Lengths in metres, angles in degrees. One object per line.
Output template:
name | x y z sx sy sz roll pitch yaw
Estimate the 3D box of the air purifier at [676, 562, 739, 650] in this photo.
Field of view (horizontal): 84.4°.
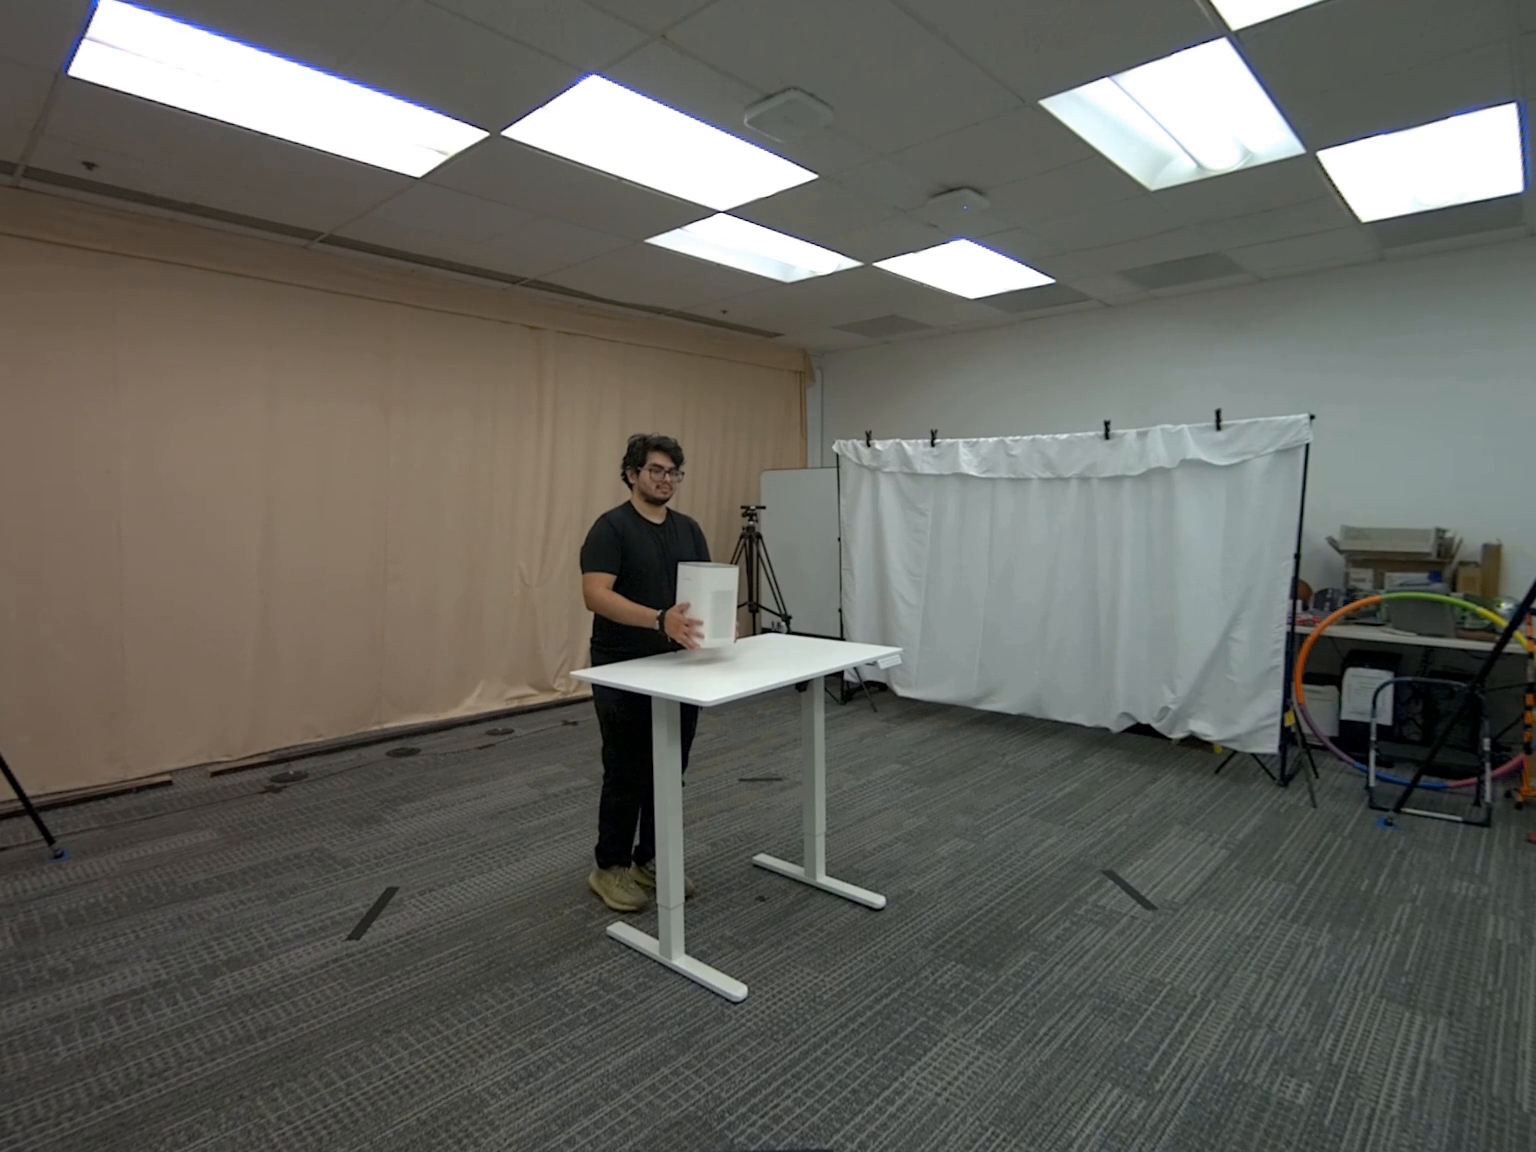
air purifier | -0.204 0.094 2.745 0.166 0.265 0.177 -1 5 -44
